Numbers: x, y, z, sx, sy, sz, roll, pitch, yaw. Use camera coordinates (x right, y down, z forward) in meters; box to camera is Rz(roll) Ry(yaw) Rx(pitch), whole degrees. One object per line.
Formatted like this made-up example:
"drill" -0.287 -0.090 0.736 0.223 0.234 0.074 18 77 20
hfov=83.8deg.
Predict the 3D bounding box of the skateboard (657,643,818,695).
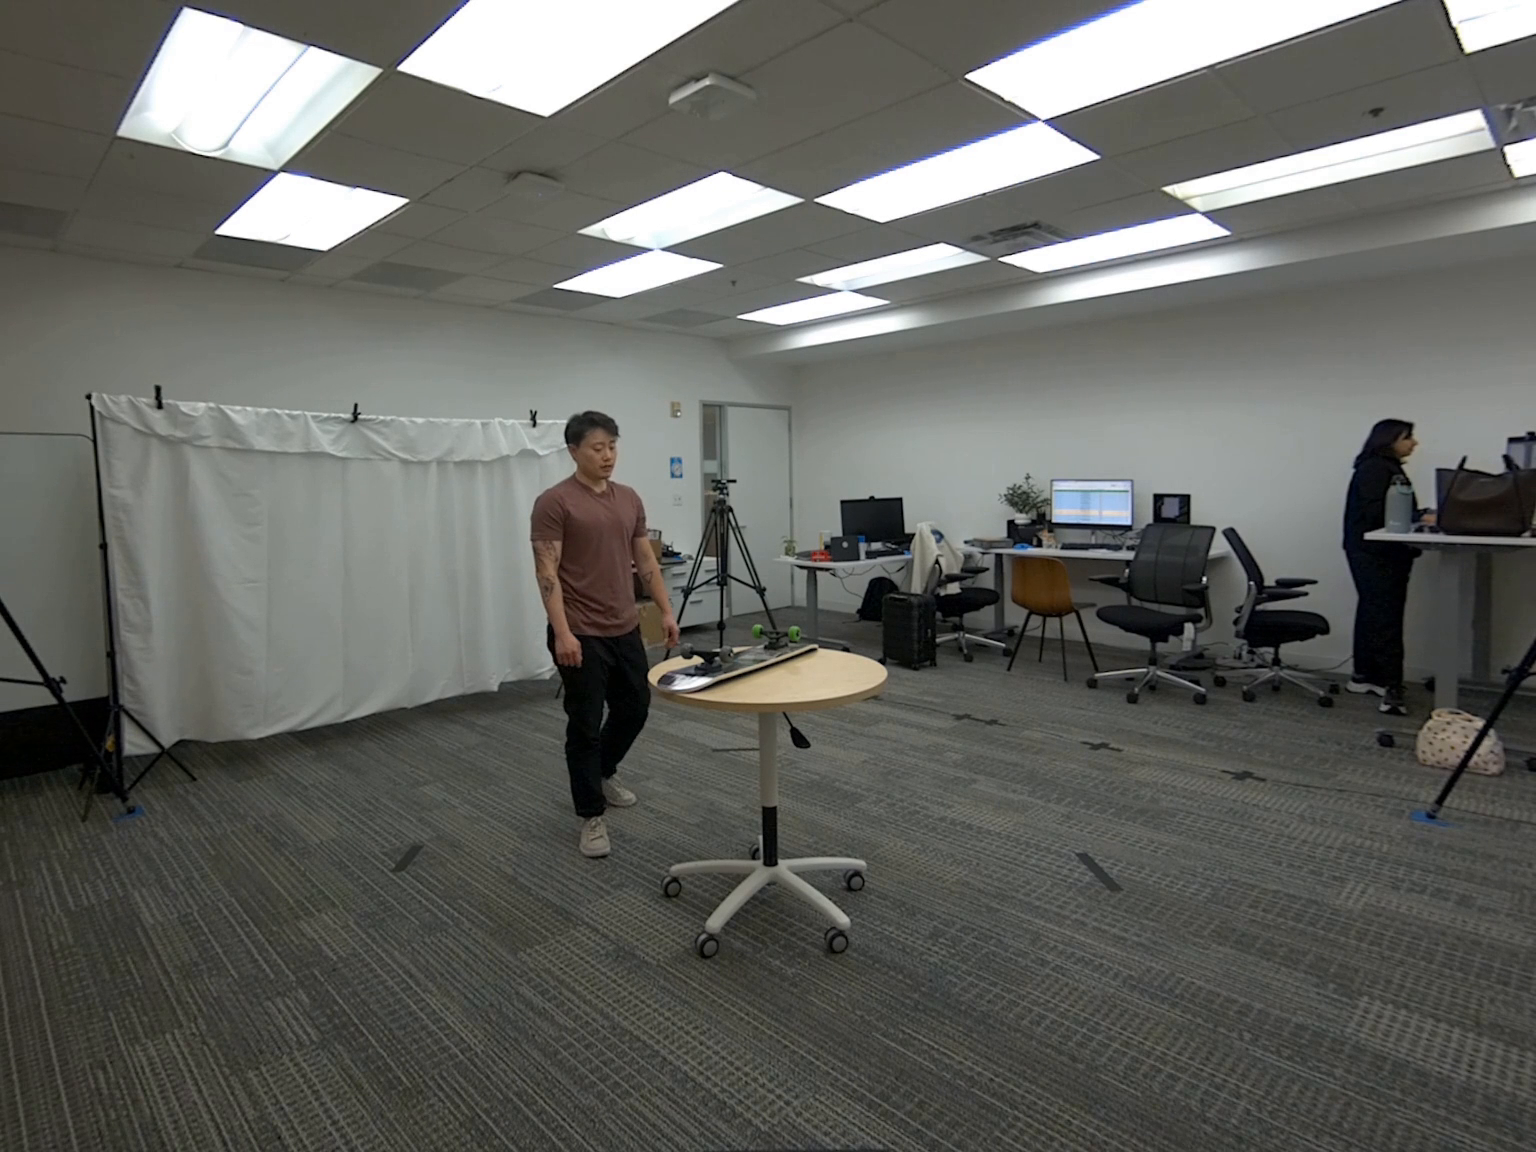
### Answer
"skateboard" -0.069 0.253 2.814 0.198 0.110 0.767 -5 4 36
